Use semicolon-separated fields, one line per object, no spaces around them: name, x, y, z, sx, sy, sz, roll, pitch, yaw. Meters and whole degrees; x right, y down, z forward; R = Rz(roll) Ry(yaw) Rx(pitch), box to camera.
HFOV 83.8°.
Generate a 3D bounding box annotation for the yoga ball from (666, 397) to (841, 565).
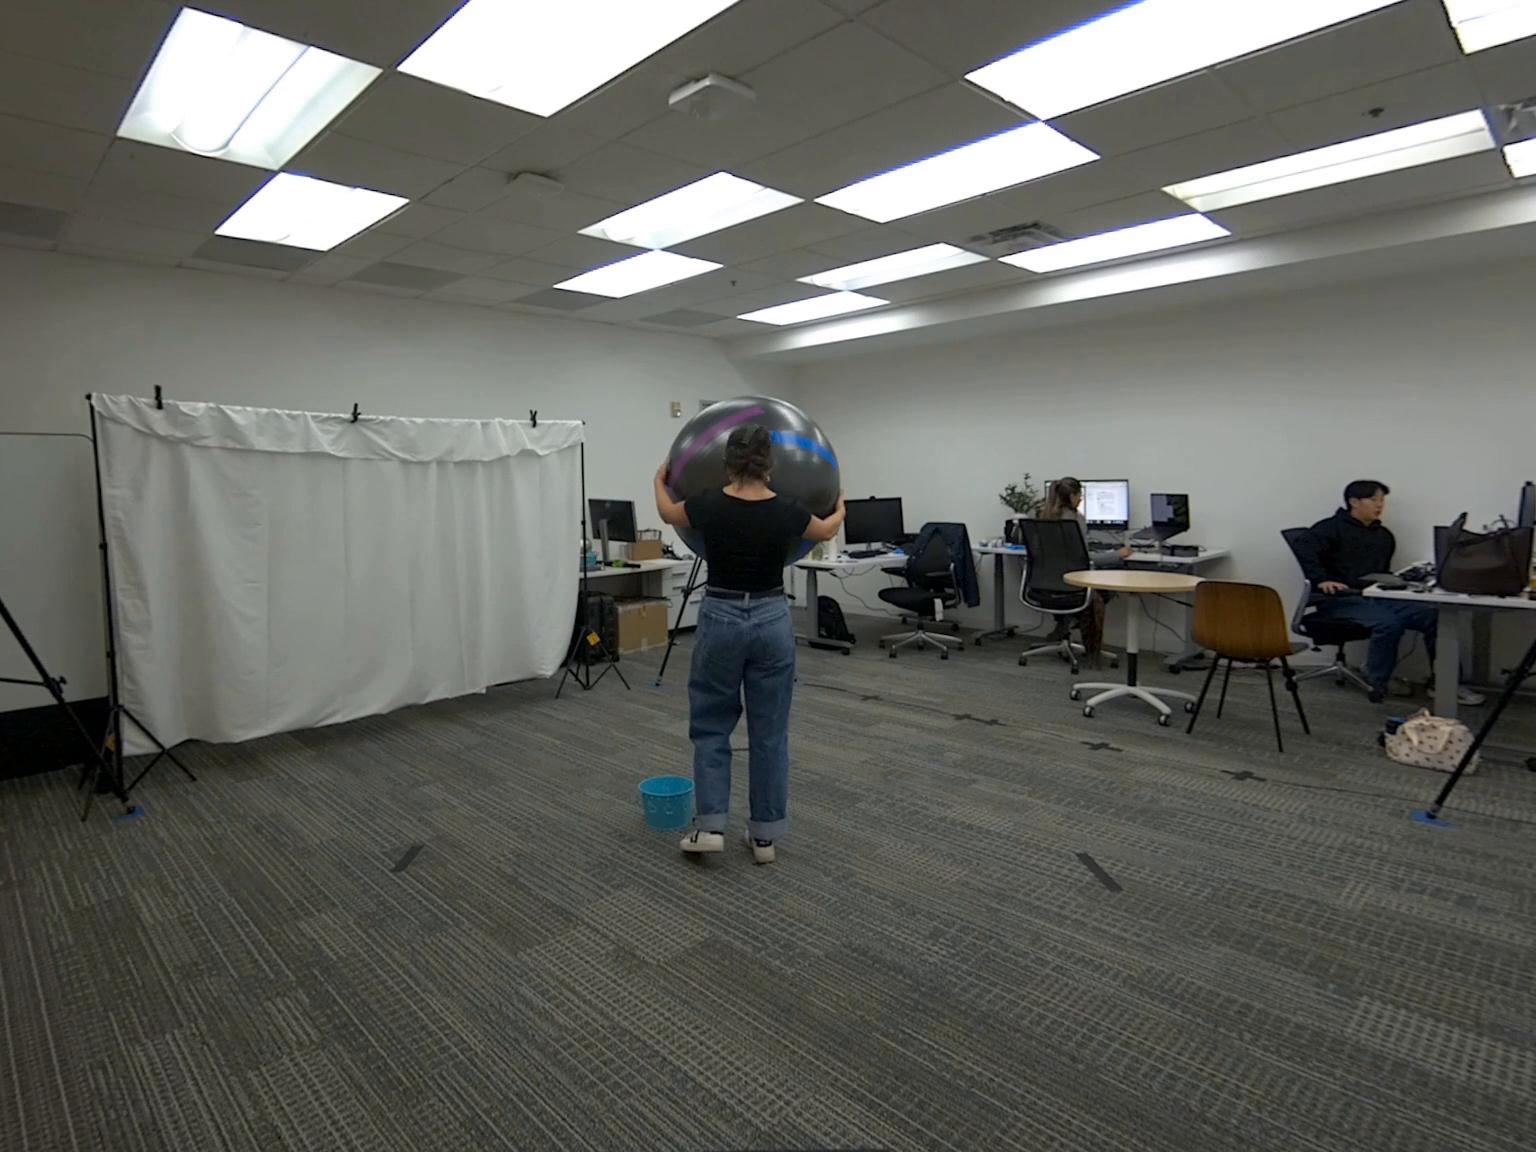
yoga ball;-0.080;-0.383;3.663;0.757;0.755;0.762;-1;5;-2
